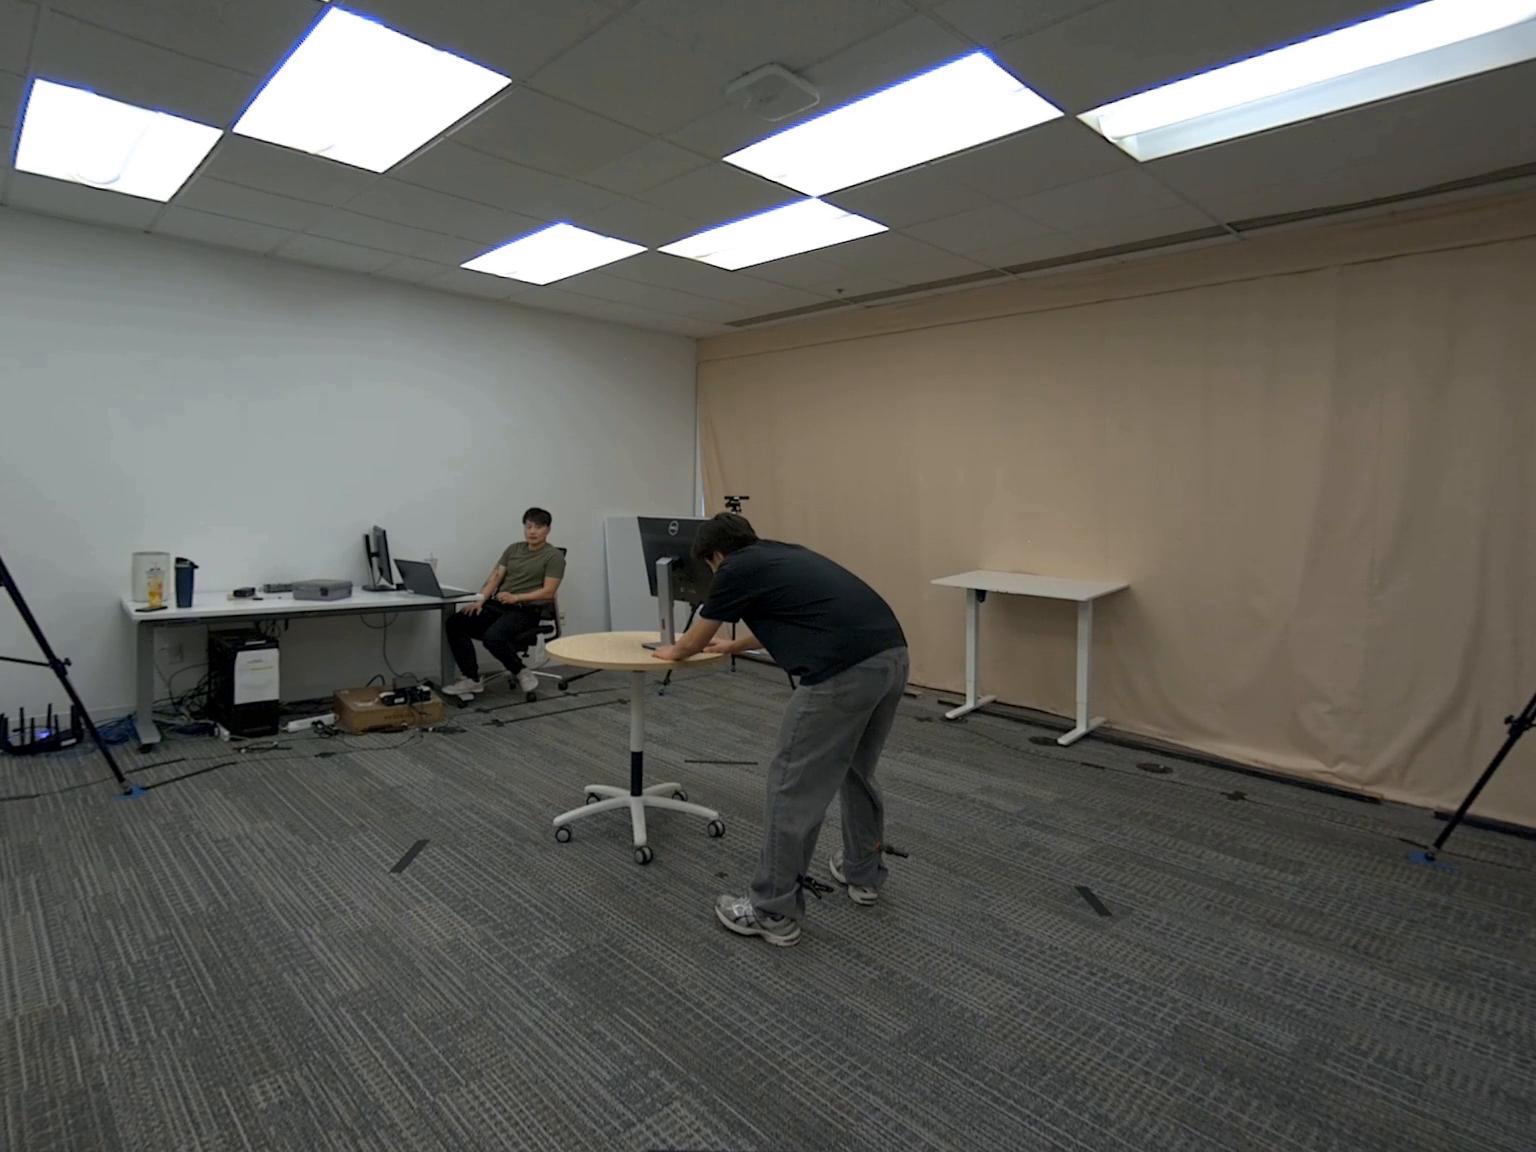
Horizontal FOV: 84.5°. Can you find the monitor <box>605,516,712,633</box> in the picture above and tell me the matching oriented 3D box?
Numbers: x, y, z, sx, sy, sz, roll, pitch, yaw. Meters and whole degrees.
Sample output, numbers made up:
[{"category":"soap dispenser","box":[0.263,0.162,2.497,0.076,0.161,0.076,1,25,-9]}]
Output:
[{"category":"monitor","box":[-0.391,0.033,3.410,0.206,0.551,0.580,-10,11,-42]}]
